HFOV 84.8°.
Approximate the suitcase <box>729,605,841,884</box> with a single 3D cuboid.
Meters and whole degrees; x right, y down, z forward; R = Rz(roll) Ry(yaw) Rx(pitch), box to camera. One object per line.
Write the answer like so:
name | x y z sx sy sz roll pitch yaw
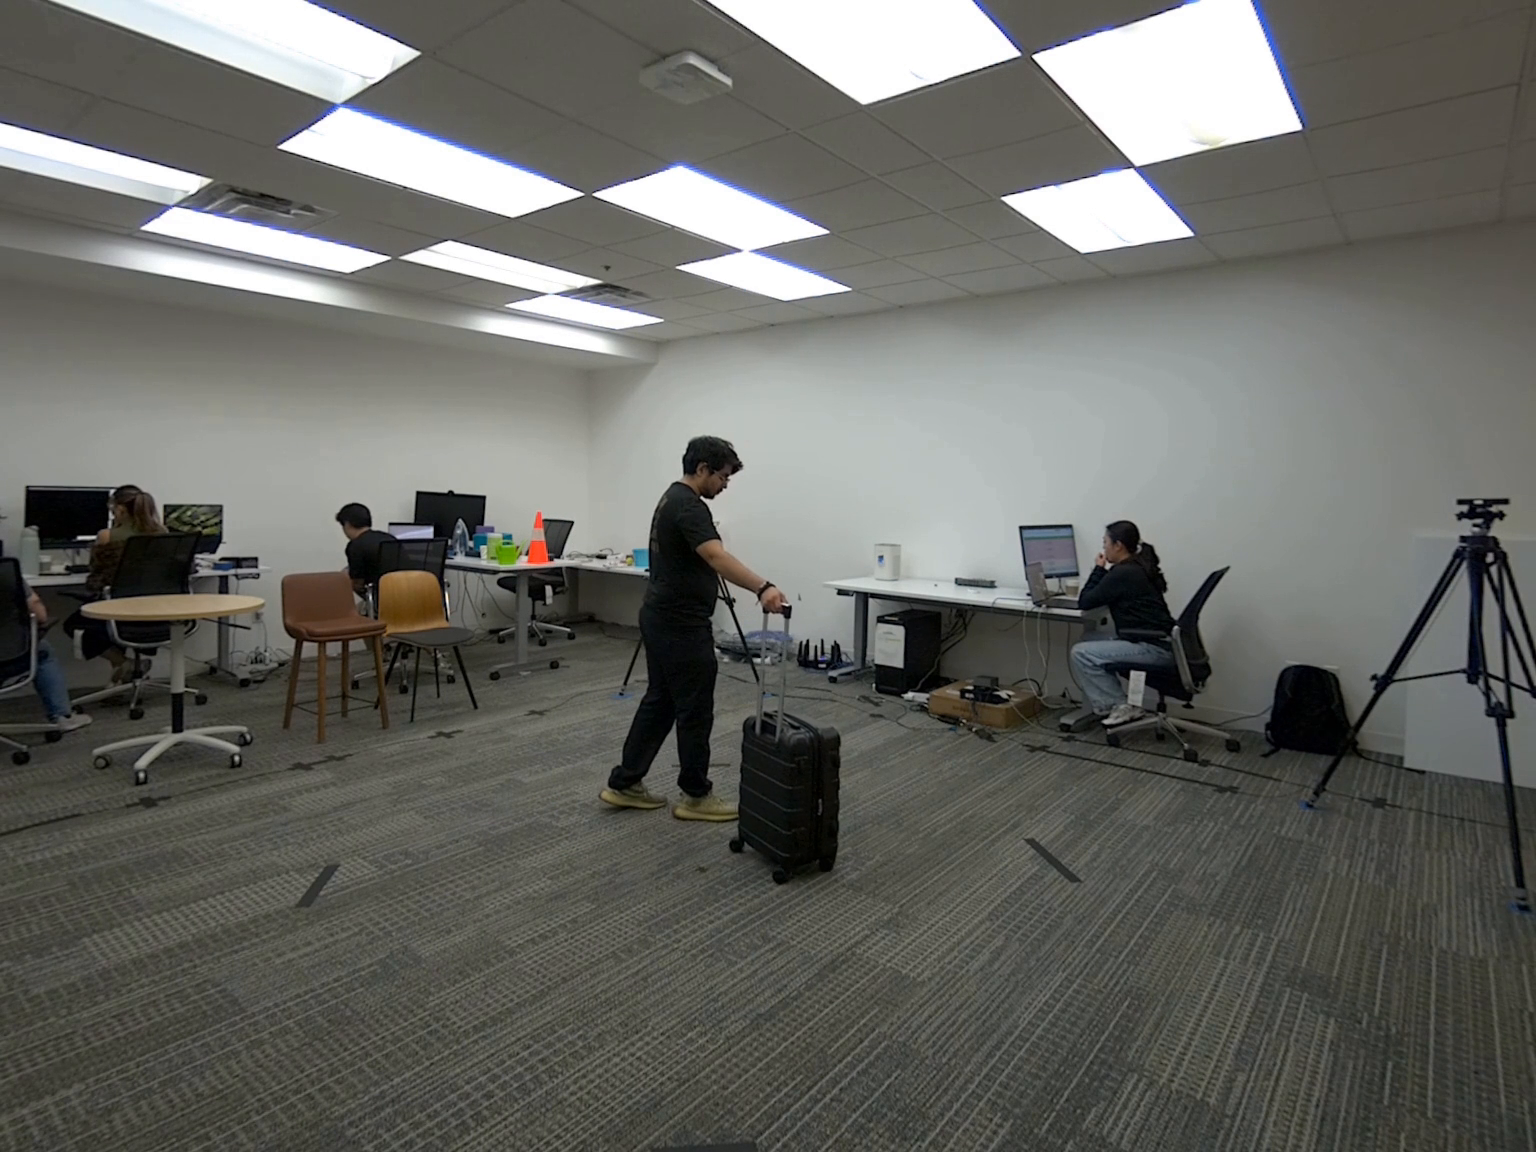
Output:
suitcase | 0.084 0.593 3.176 0.249 0.976 0.396 3 3 -32
